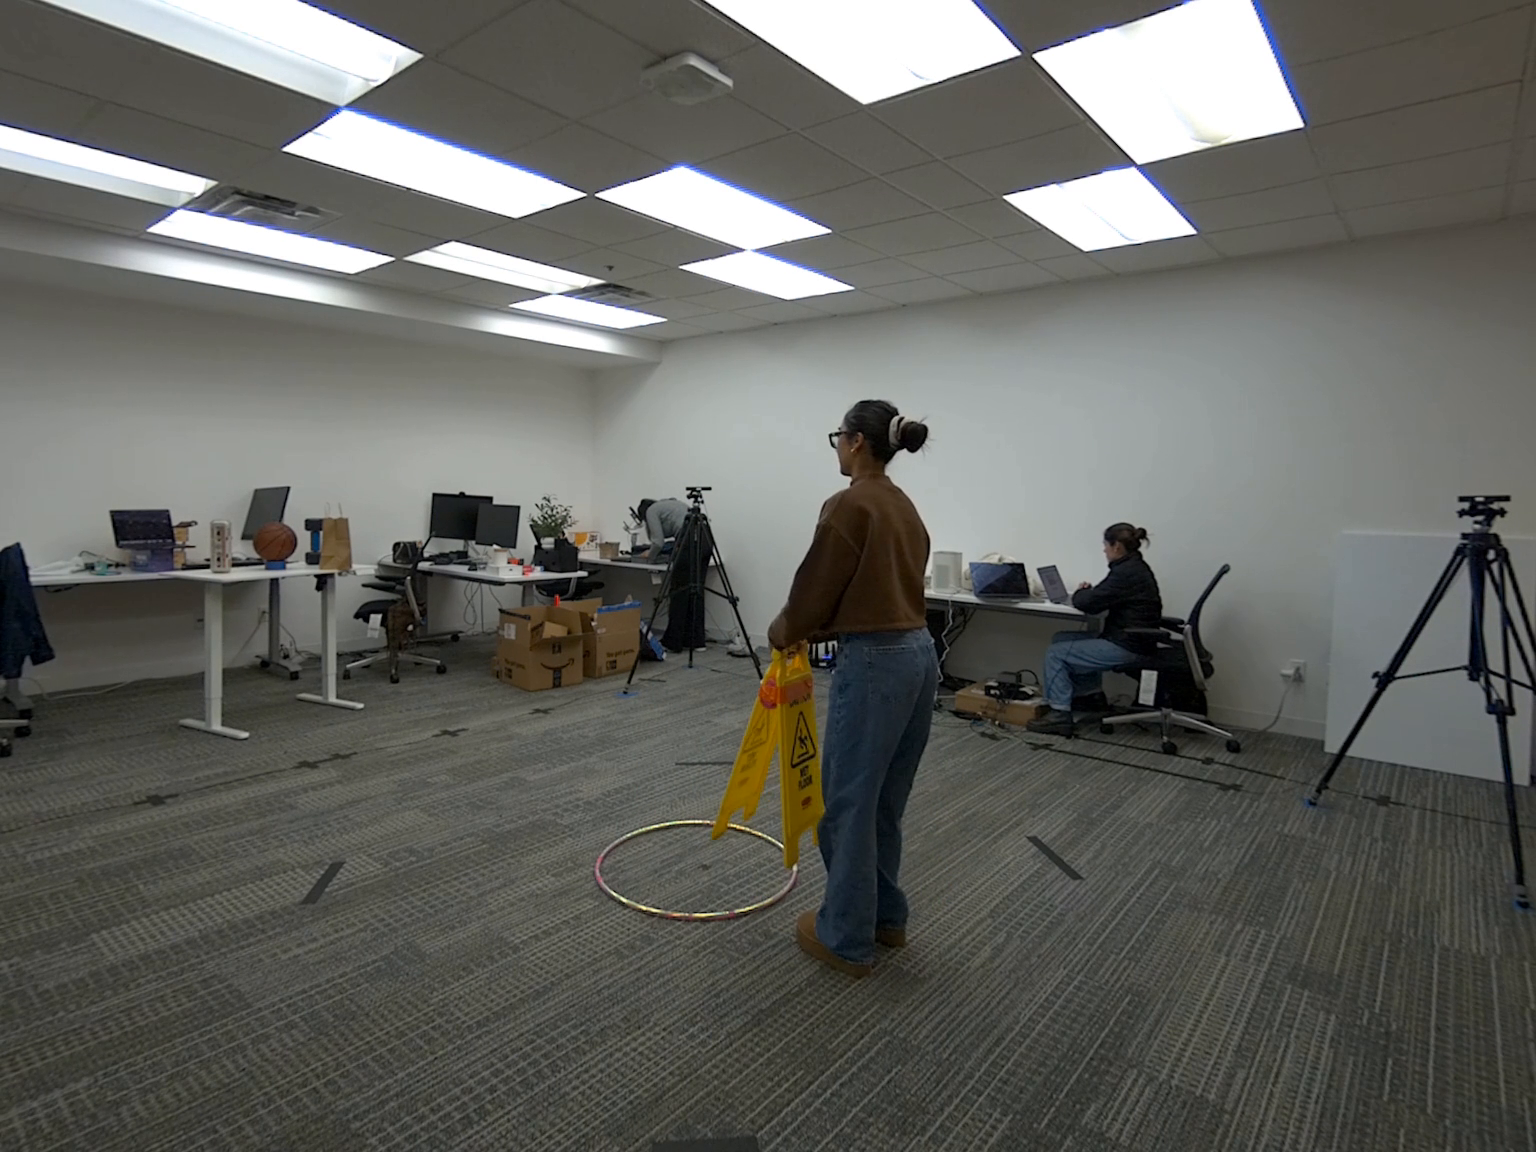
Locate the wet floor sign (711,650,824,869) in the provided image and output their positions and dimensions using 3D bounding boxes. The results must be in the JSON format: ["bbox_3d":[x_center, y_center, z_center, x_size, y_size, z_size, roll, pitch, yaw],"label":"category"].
[{"bbox_3d":[0.036,0.524,2.681,0.299,0.644,0.274,8,4,29],"label":"wet floor sign"}]
